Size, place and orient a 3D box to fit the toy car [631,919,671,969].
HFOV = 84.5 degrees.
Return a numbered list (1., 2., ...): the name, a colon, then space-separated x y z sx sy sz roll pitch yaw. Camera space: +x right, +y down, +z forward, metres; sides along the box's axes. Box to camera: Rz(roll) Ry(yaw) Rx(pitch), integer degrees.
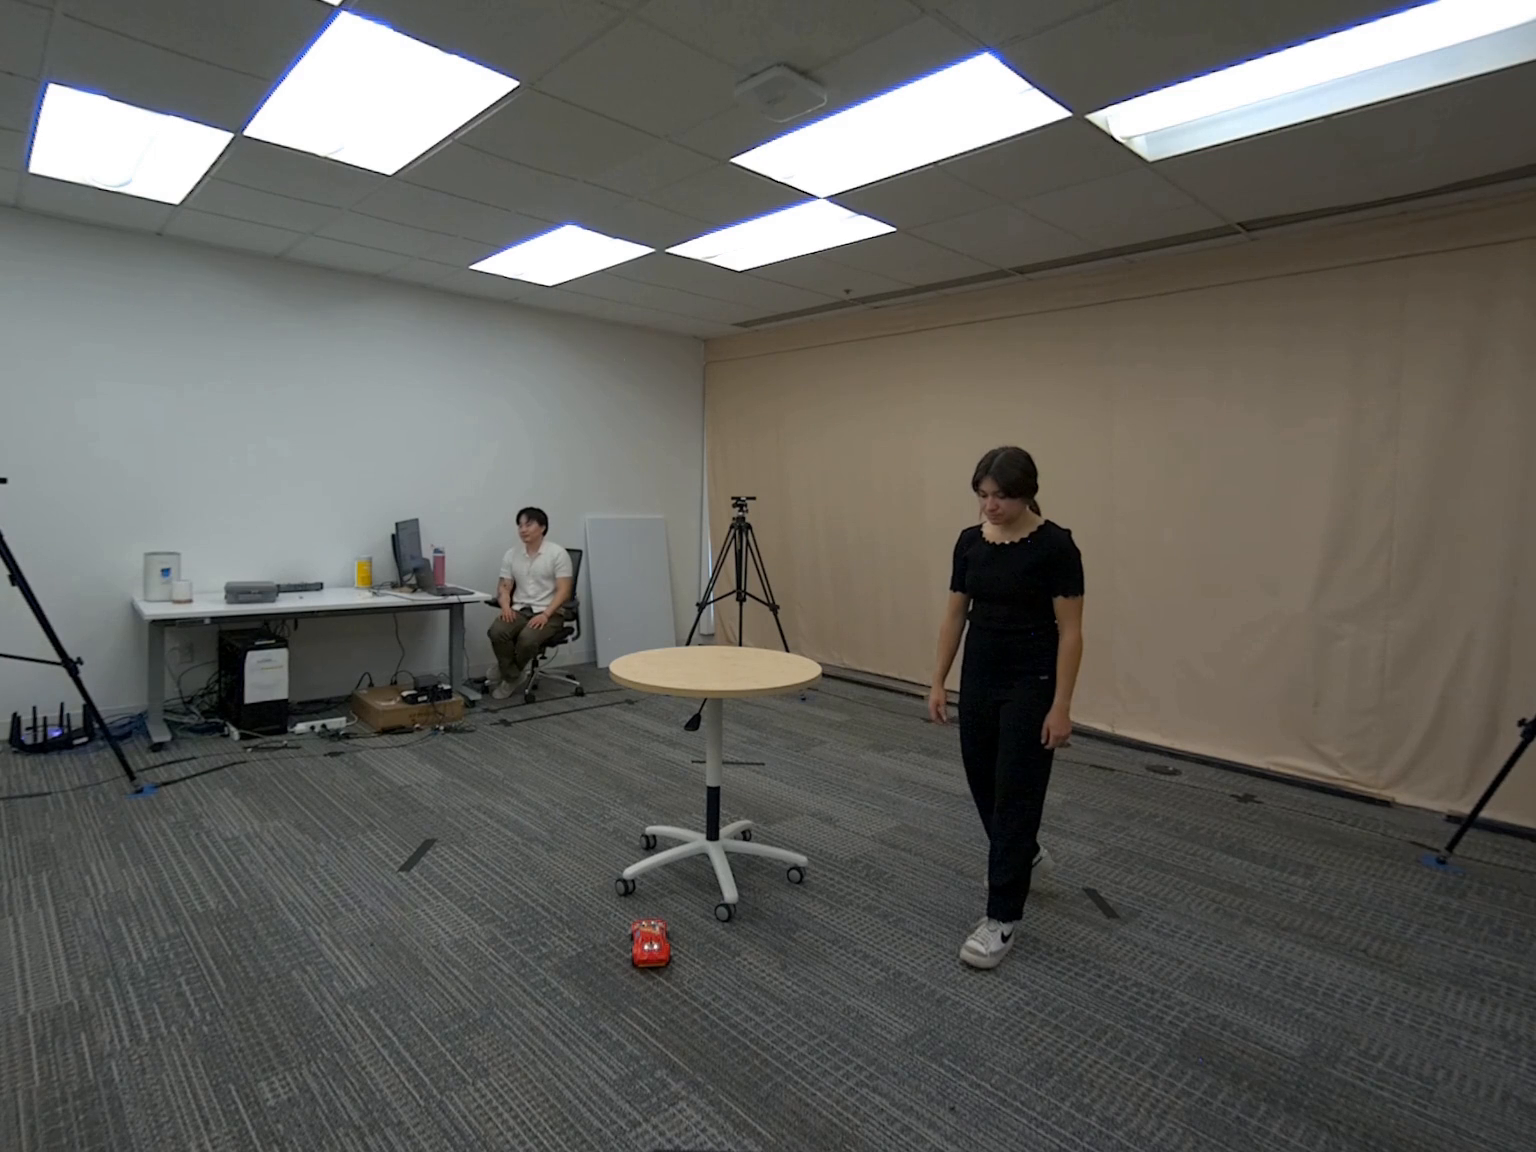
1. toy car: -0.364 1.116 2.553 0.129 0.083 0.255 1 -6 -10
